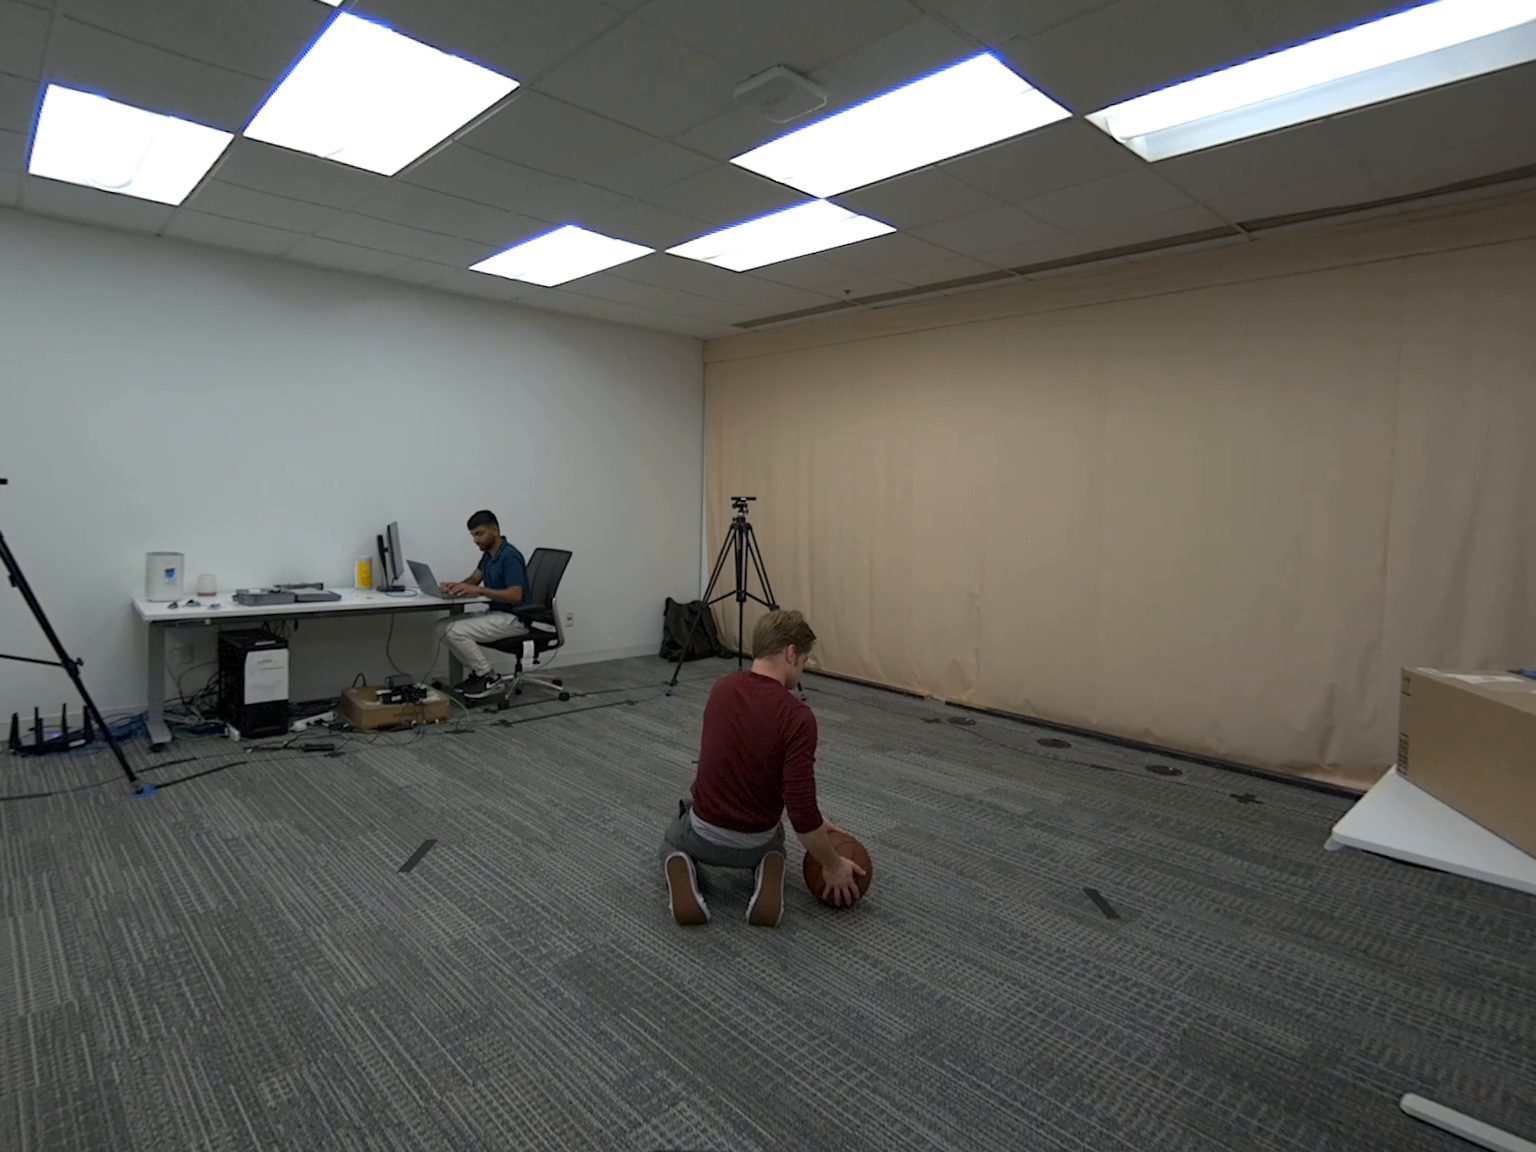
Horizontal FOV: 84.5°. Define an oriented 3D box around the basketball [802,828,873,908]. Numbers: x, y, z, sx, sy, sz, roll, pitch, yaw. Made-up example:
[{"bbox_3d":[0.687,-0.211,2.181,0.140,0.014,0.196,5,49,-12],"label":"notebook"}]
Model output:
[{"bbox_3d":[0.238,0.998,2.909,0.236,0.235,0.237,1,4,-1],"label":"basketball"}]
